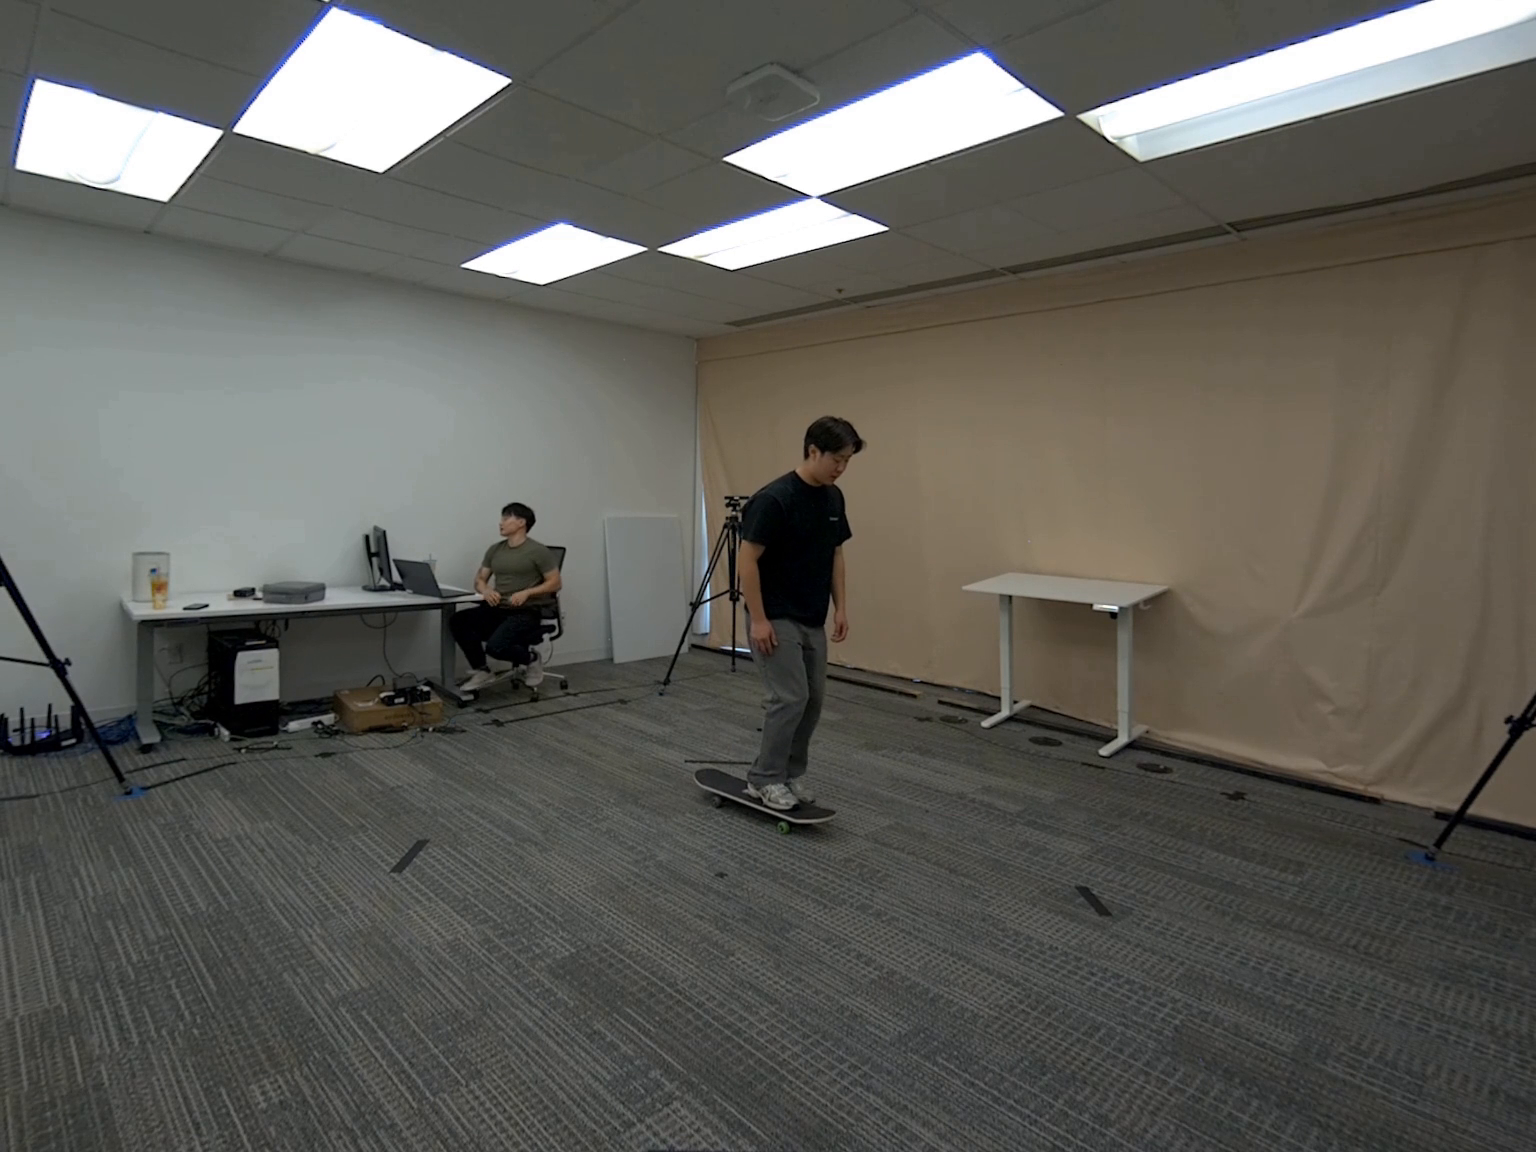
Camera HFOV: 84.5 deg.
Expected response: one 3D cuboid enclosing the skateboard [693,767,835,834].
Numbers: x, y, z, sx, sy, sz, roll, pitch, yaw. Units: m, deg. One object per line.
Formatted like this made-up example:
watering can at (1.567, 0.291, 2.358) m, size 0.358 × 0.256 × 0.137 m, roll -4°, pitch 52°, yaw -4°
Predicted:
skateboard at (-0.042, 1.004, 3.701) m, size 0.805 × 0.110 × 0.189 m, roll 5°, pitch 7°, yaw 43°
